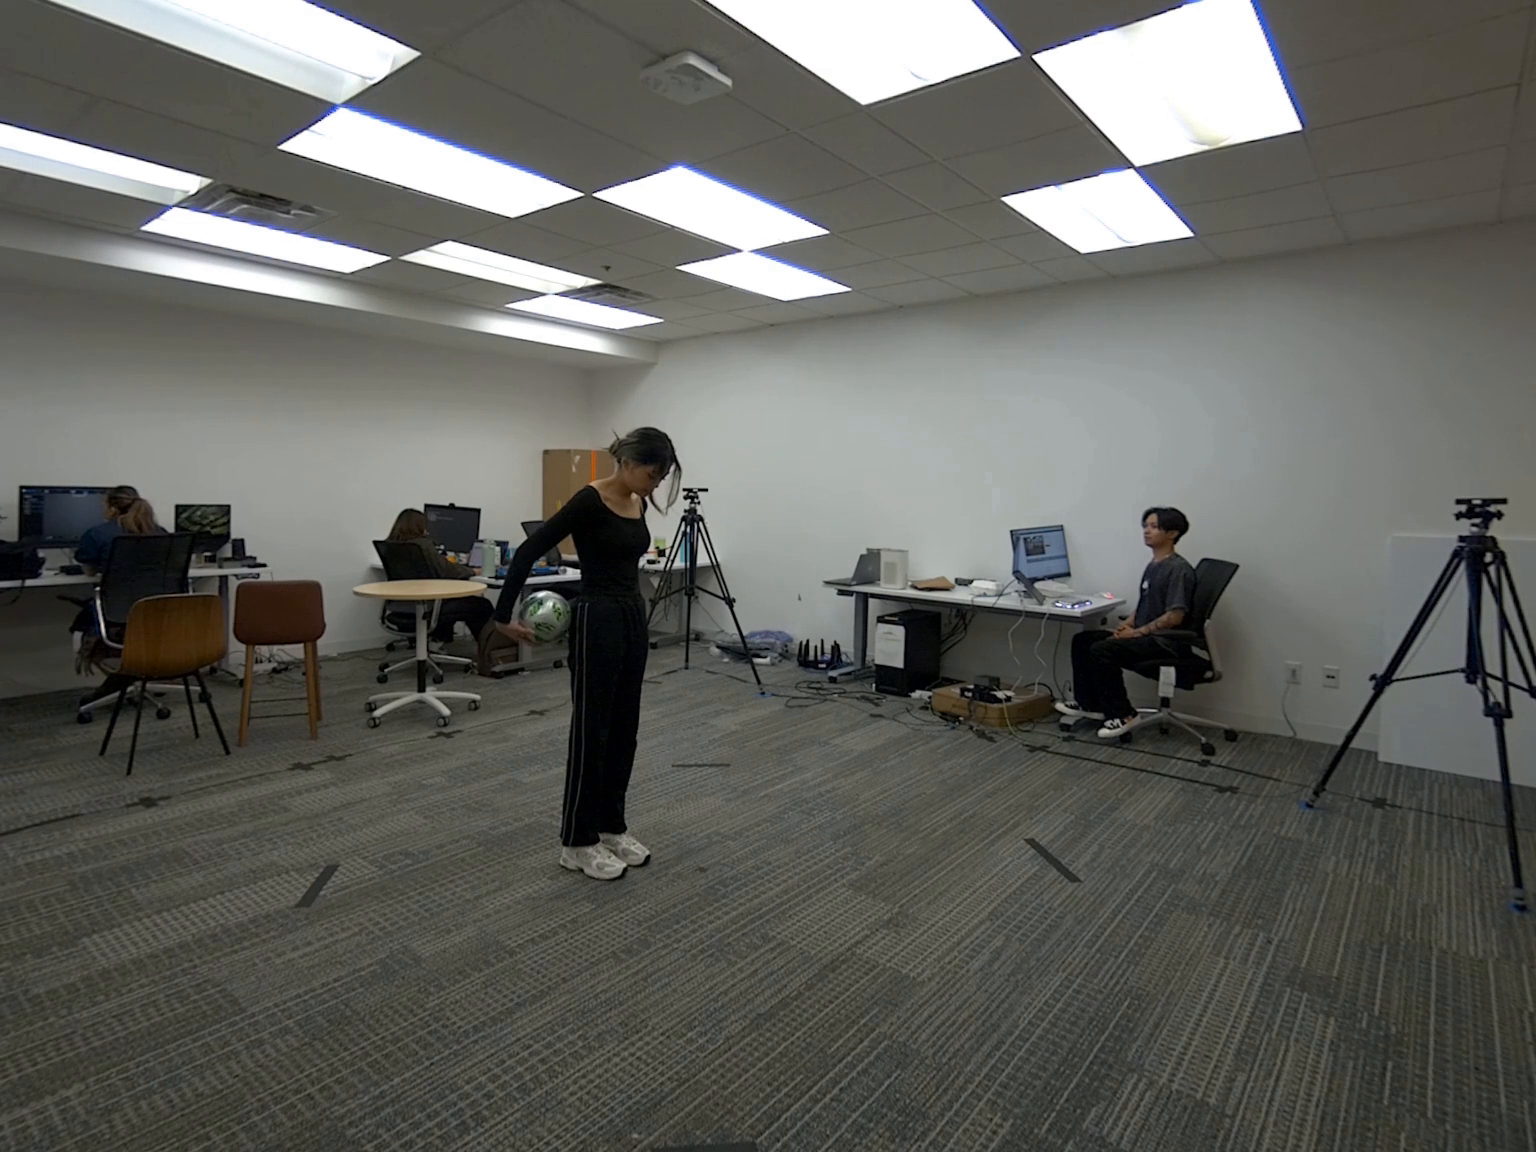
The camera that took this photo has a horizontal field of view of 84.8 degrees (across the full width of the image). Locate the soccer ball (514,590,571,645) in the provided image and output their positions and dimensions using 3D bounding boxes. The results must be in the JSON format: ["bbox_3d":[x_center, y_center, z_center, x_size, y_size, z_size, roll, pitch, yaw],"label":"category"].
[{"bbox_3d":[-0.789,0.145,2.985,0.187,0.187,0.188,1,4,-2],"label":"soccer ball"}]
